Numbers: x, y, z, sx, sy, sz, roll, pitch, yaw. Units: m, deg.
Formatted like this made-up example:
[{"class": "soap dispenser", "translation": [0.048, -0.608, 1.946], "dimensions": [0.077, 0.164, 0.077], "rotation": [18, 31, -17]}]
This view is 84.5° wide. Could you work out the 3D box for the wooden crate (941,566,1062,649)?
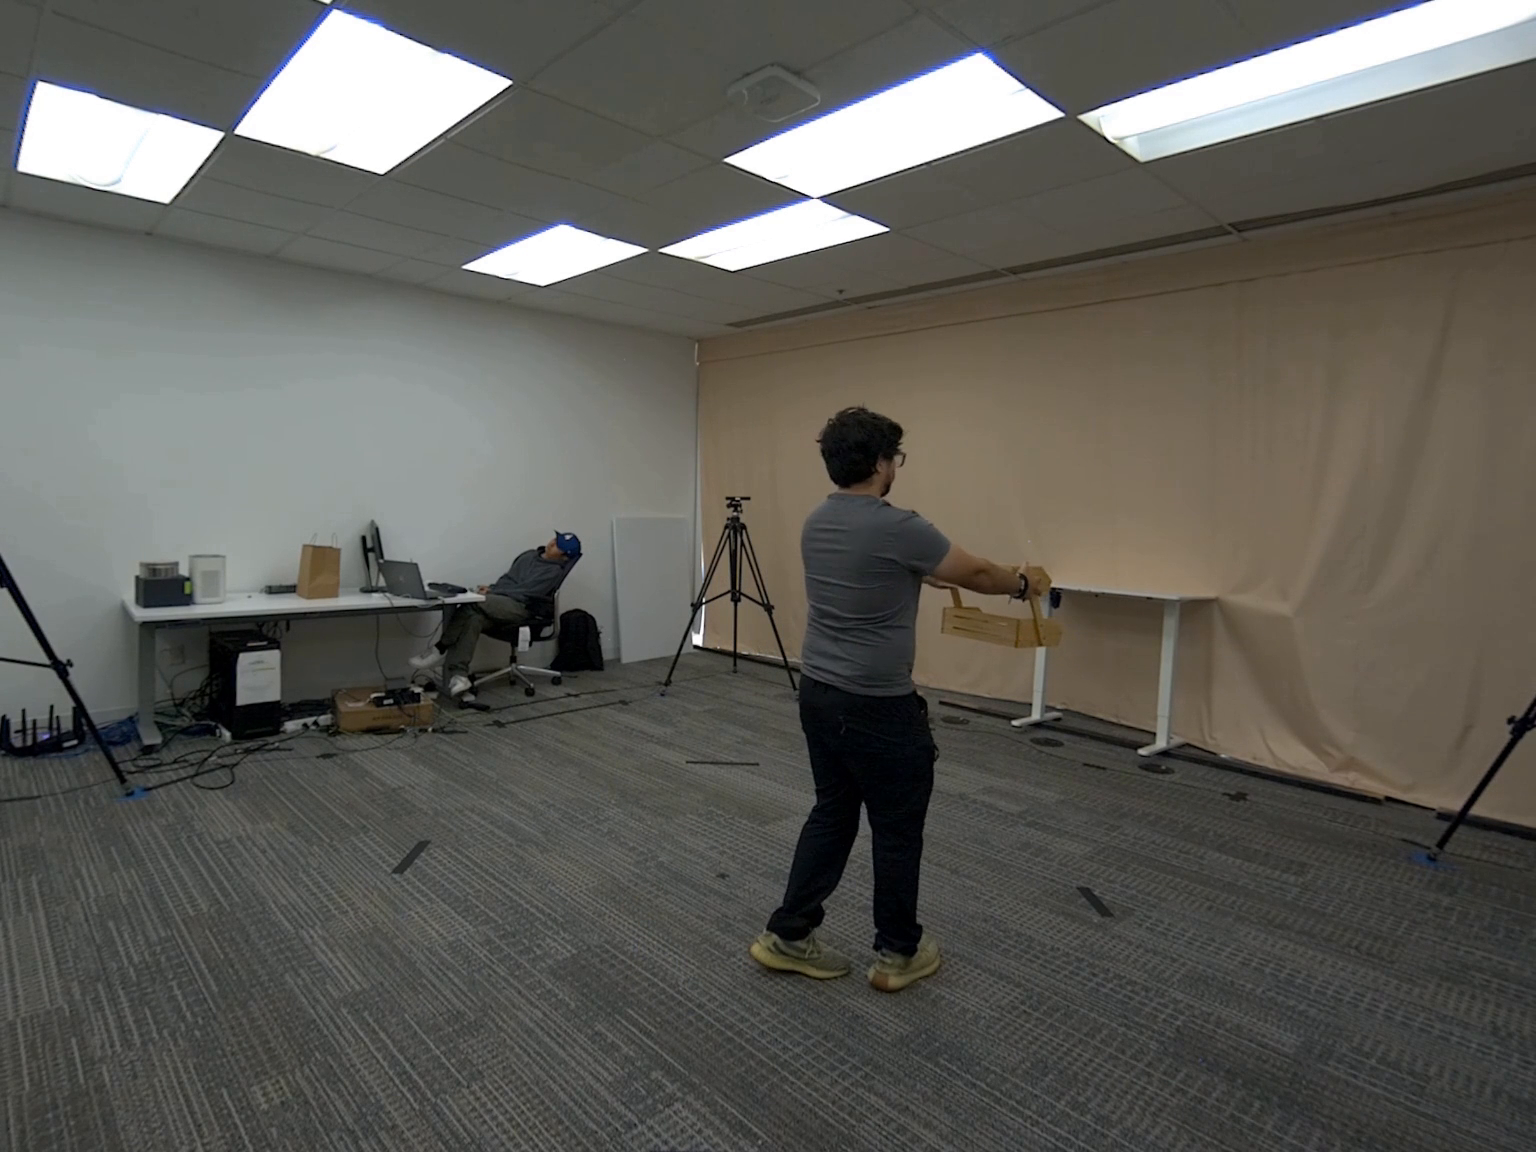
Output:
[{"class": "wooden crate", "translation": [0.766, 0.081, 2.811], "dimensions": [0.295, 0.273, 0.333], "rotation": [0, 5, -39]}]
